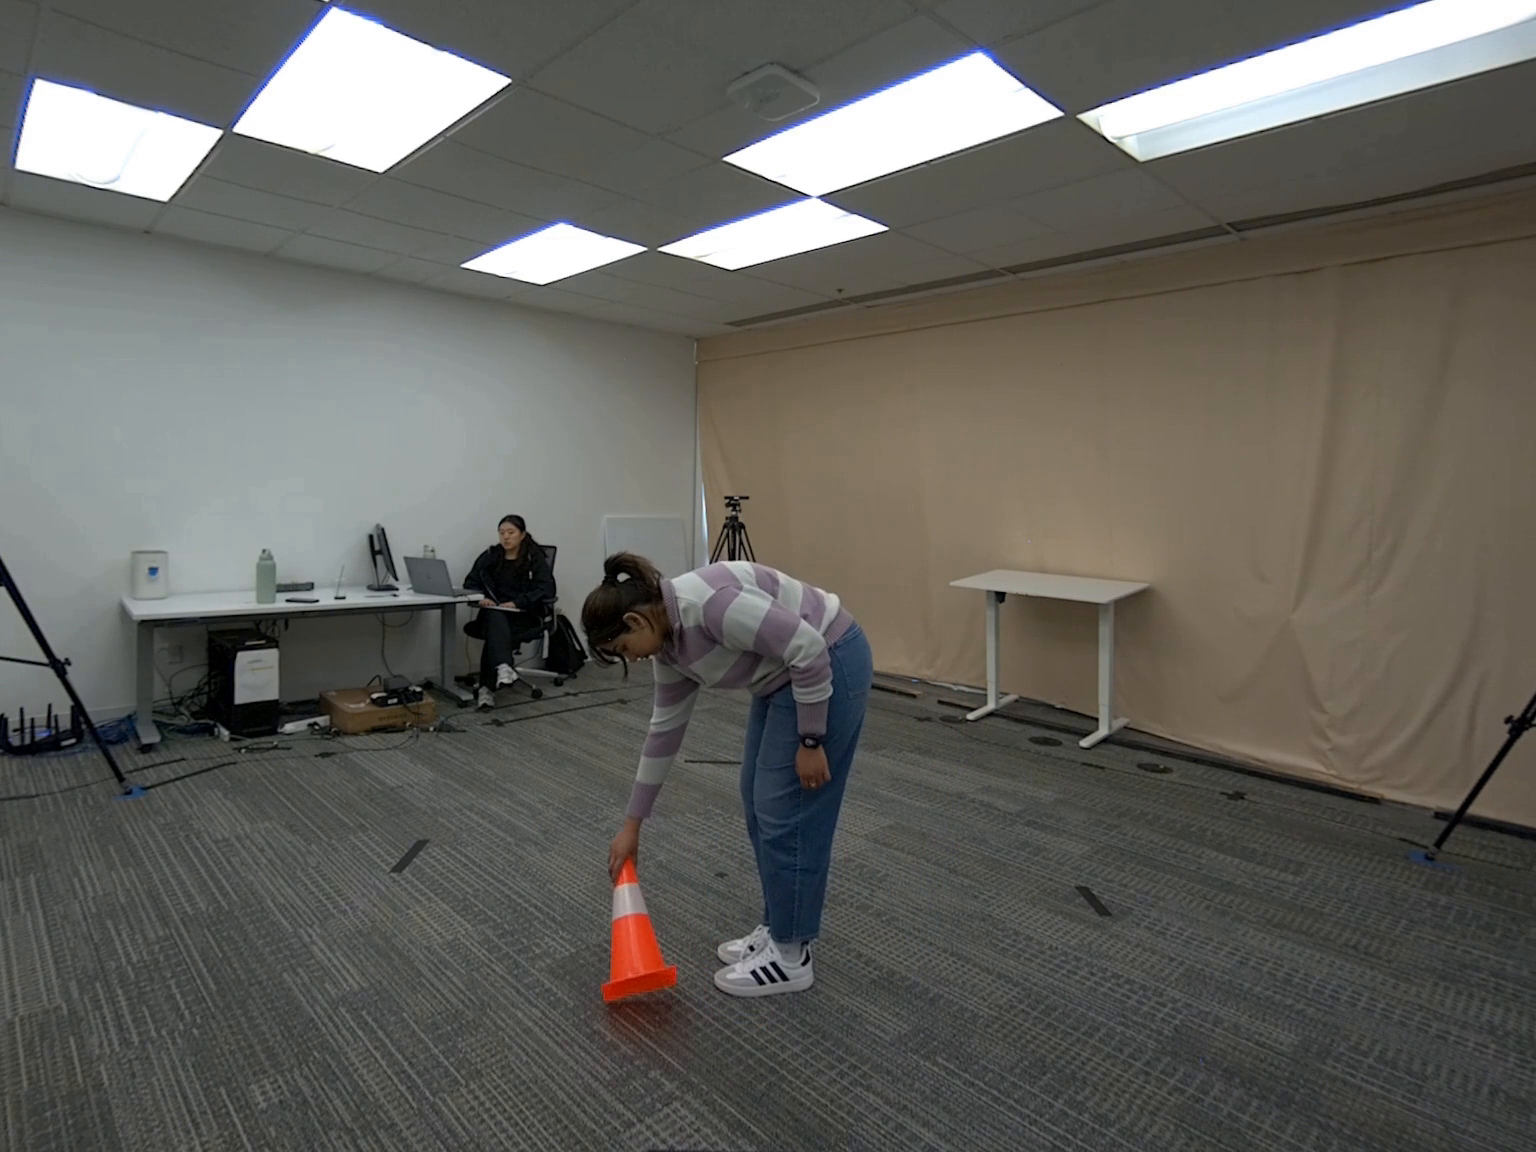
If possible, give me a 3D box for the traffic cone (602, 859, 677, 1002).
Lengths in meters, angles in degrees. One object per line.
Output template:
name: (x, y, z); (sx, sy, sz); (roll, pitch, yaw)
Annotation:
traffic cone: (-0.386, 0.948, 2.365); (0.201, 0.394, 0.201); (-7, -39, -14)
